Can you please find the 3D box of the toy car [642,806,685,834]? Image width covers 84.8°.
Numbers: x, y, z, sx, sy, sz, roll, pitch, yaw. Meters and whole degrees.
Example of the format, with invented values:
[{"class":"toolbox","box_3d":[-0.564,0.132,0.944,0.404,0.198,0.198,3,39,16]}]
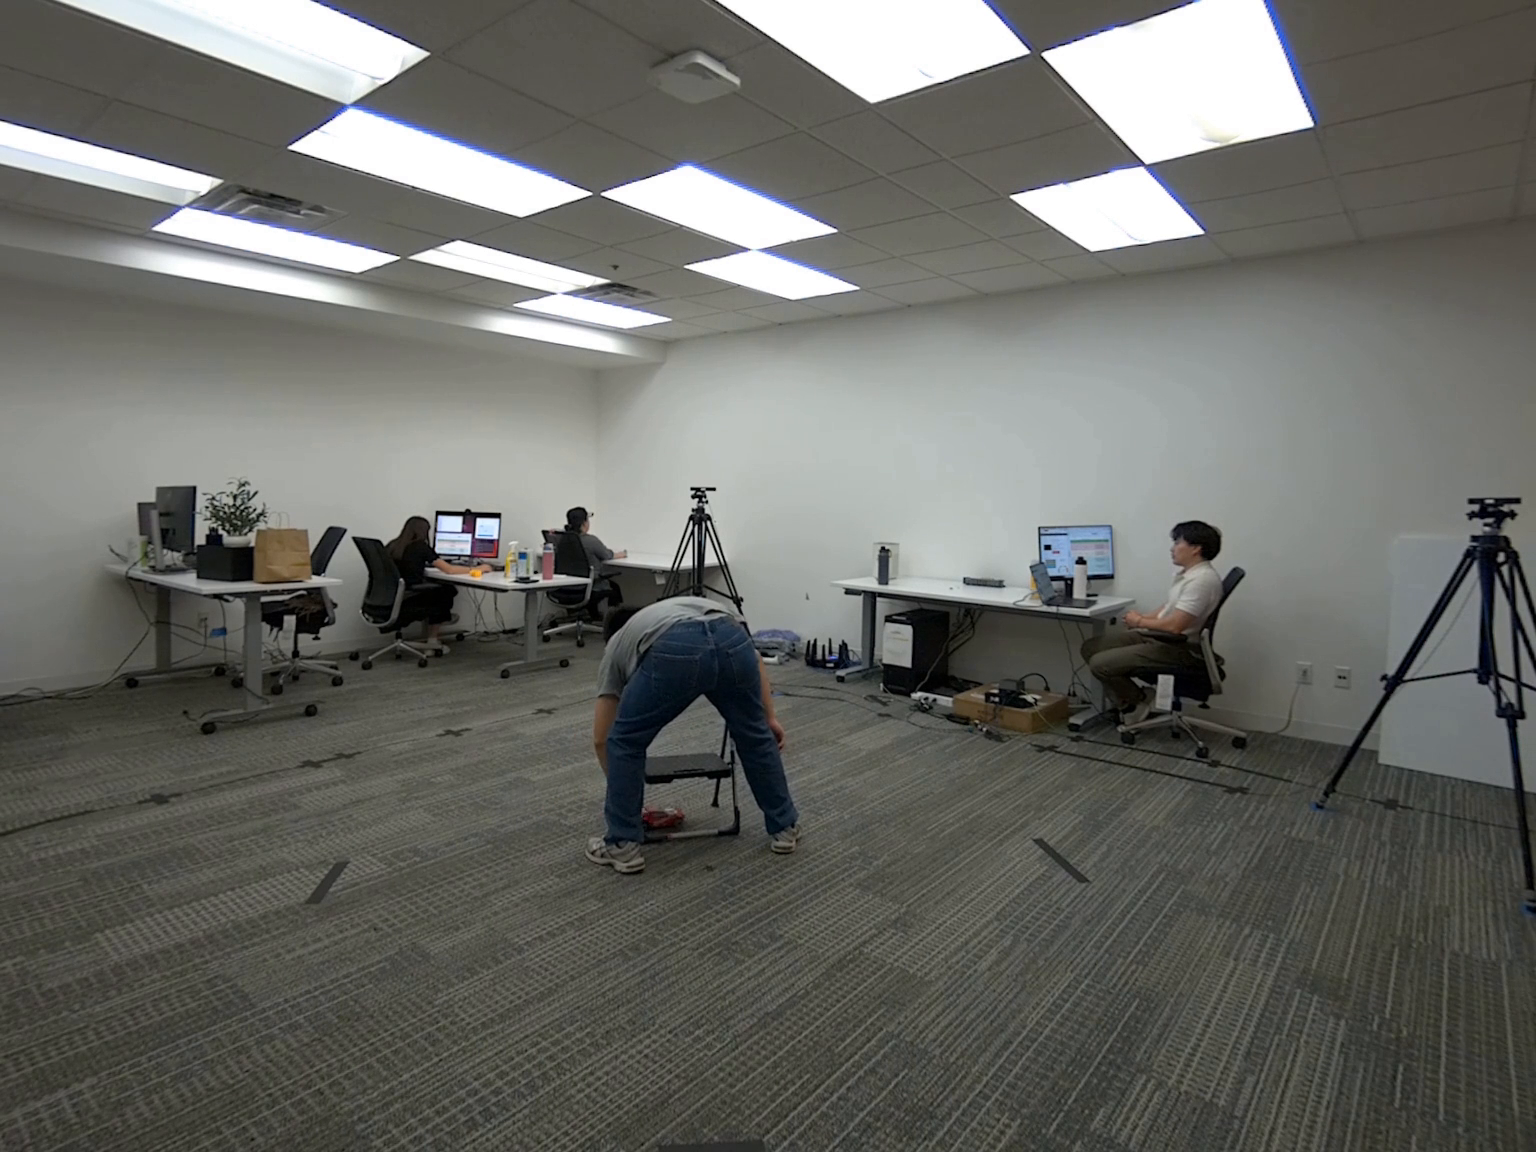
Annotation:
[{"class":"toy car","box_3d":[-0.497,0.998,3.490,0.249,0.083,0.133,9,2,-21]}]
